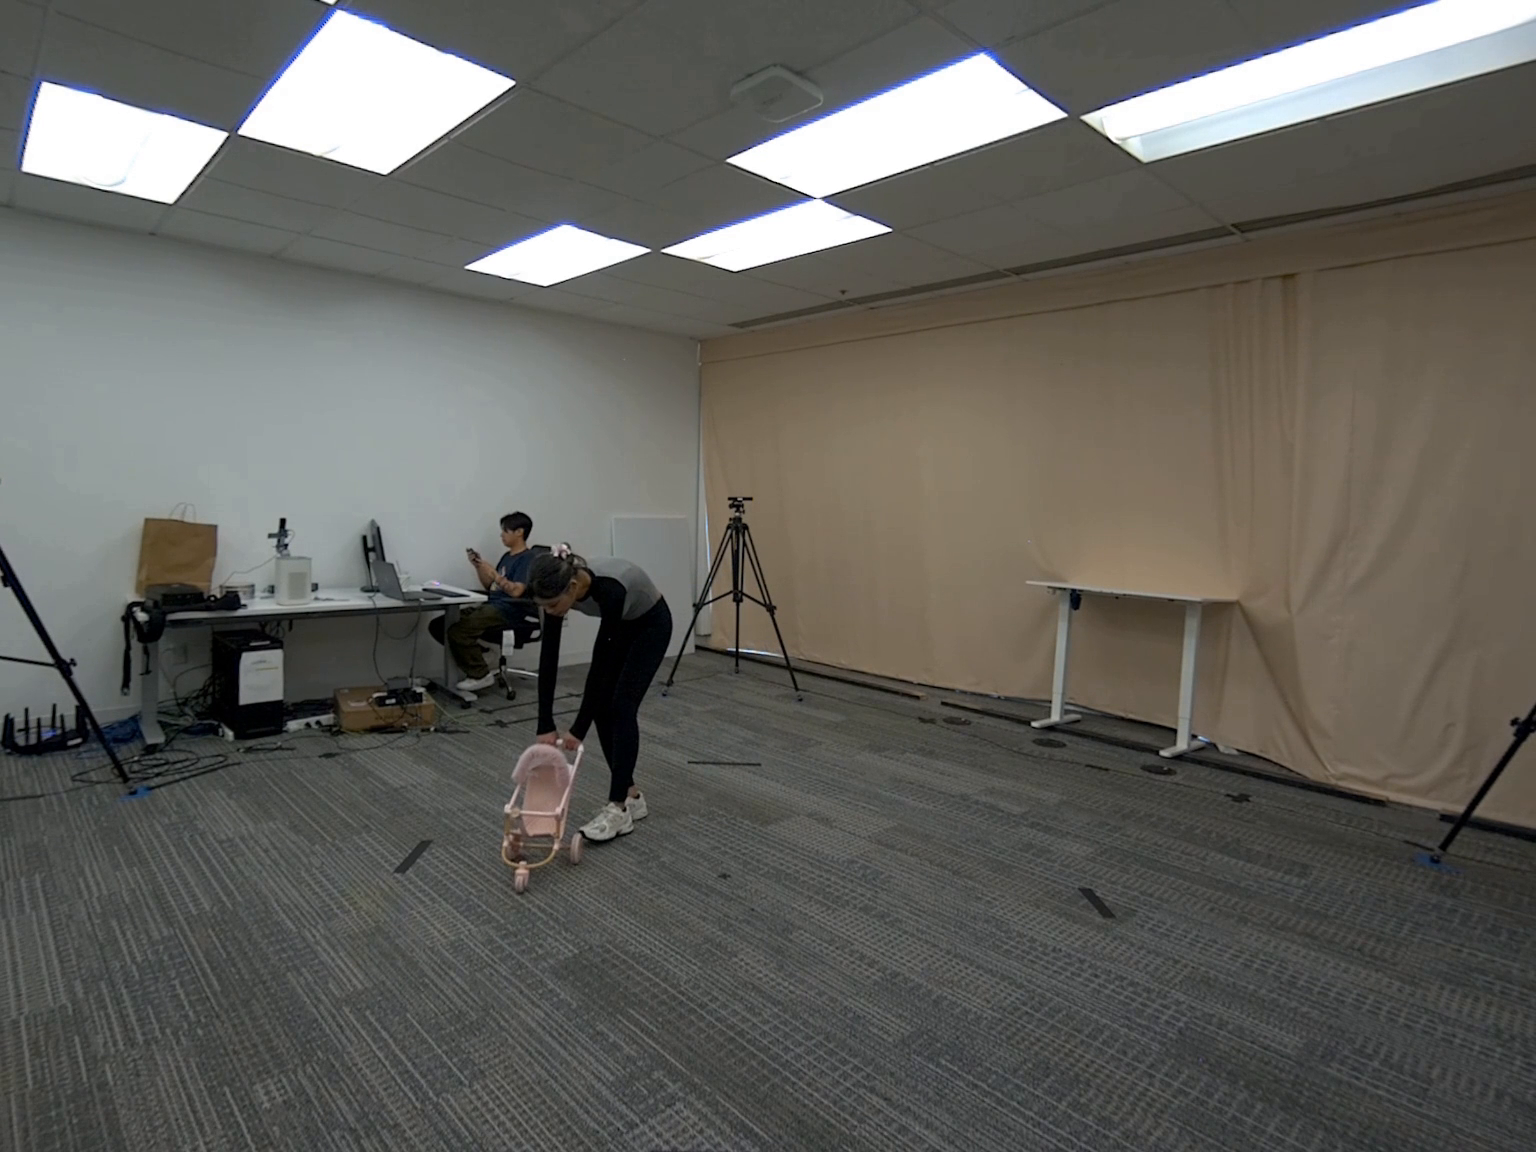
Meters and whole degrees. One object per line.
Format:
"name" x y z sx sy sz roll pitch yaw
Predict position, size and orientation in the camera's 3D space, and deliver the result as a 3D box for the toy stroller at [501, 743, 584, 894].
"toy stroller" -0.858 0.868 3.124 0.283 0.540 0.336 1 -13 7
